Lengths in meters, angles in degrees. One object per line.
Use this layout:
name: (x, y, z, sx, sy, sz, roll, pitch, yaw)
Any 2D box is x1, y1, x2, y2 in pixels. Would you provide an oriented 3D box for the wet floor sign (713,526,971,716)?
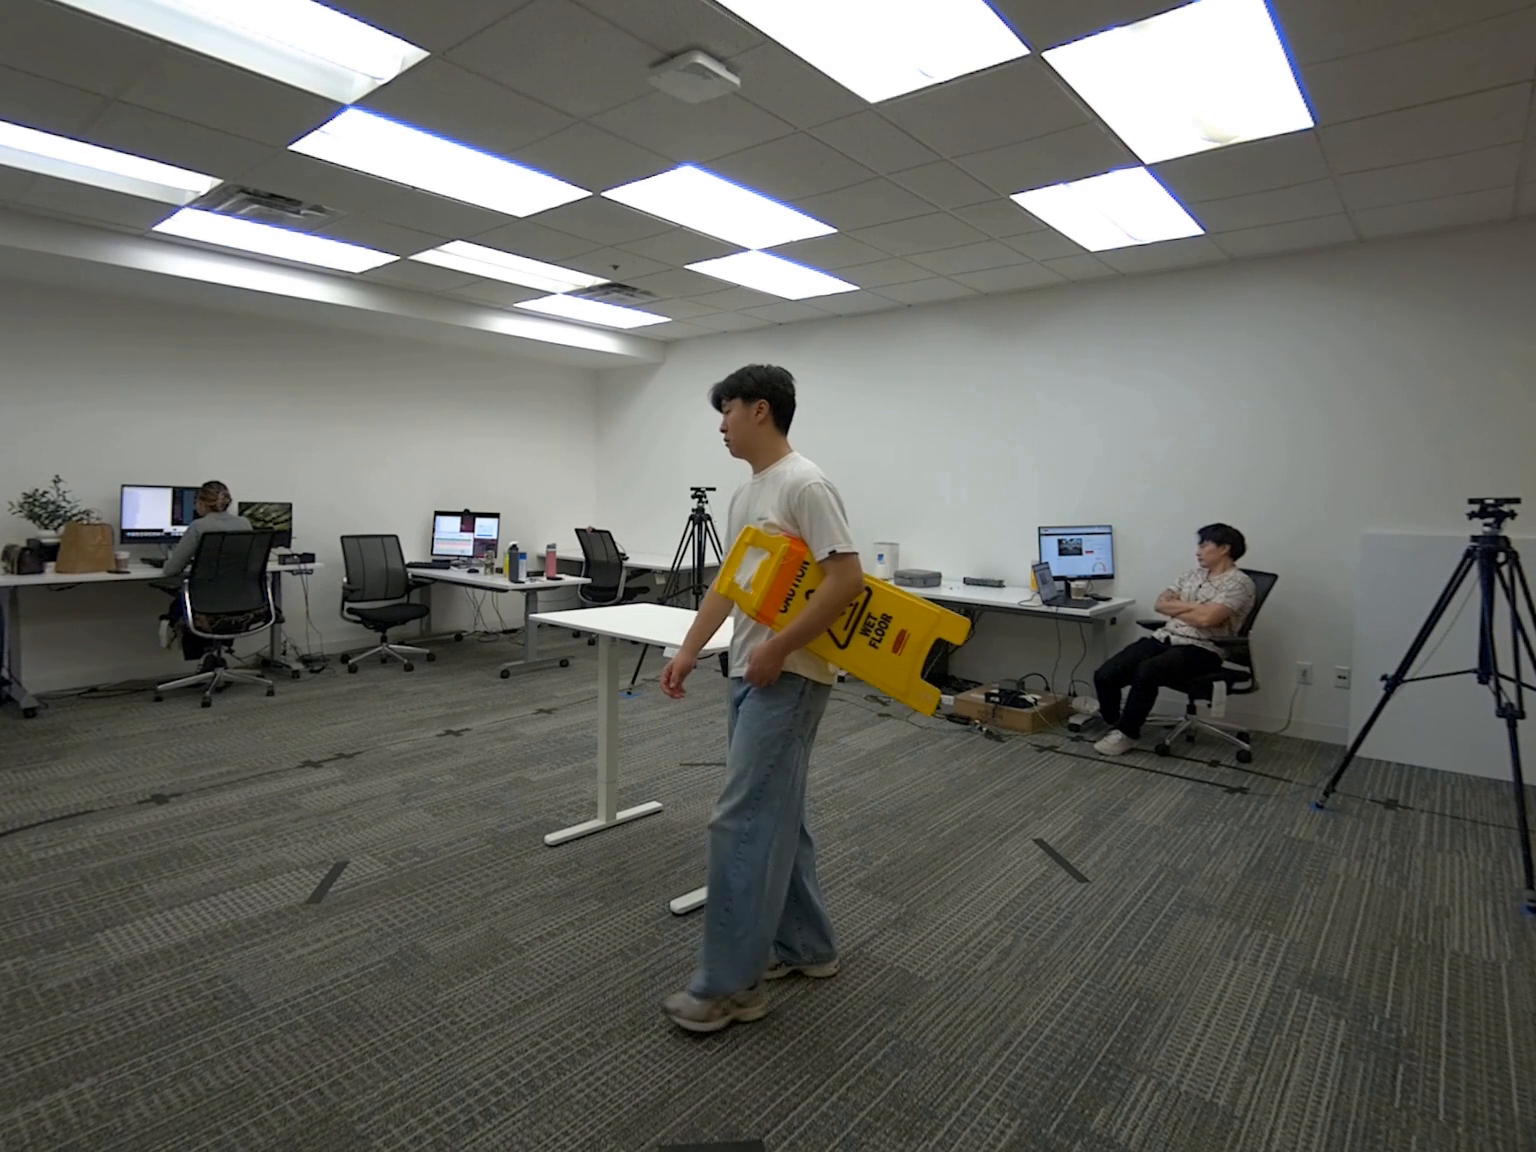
wet floor sign: (0.168, 0.102, 2.240, 0.635, 0.283, 0.294, 27, -6, -13)
